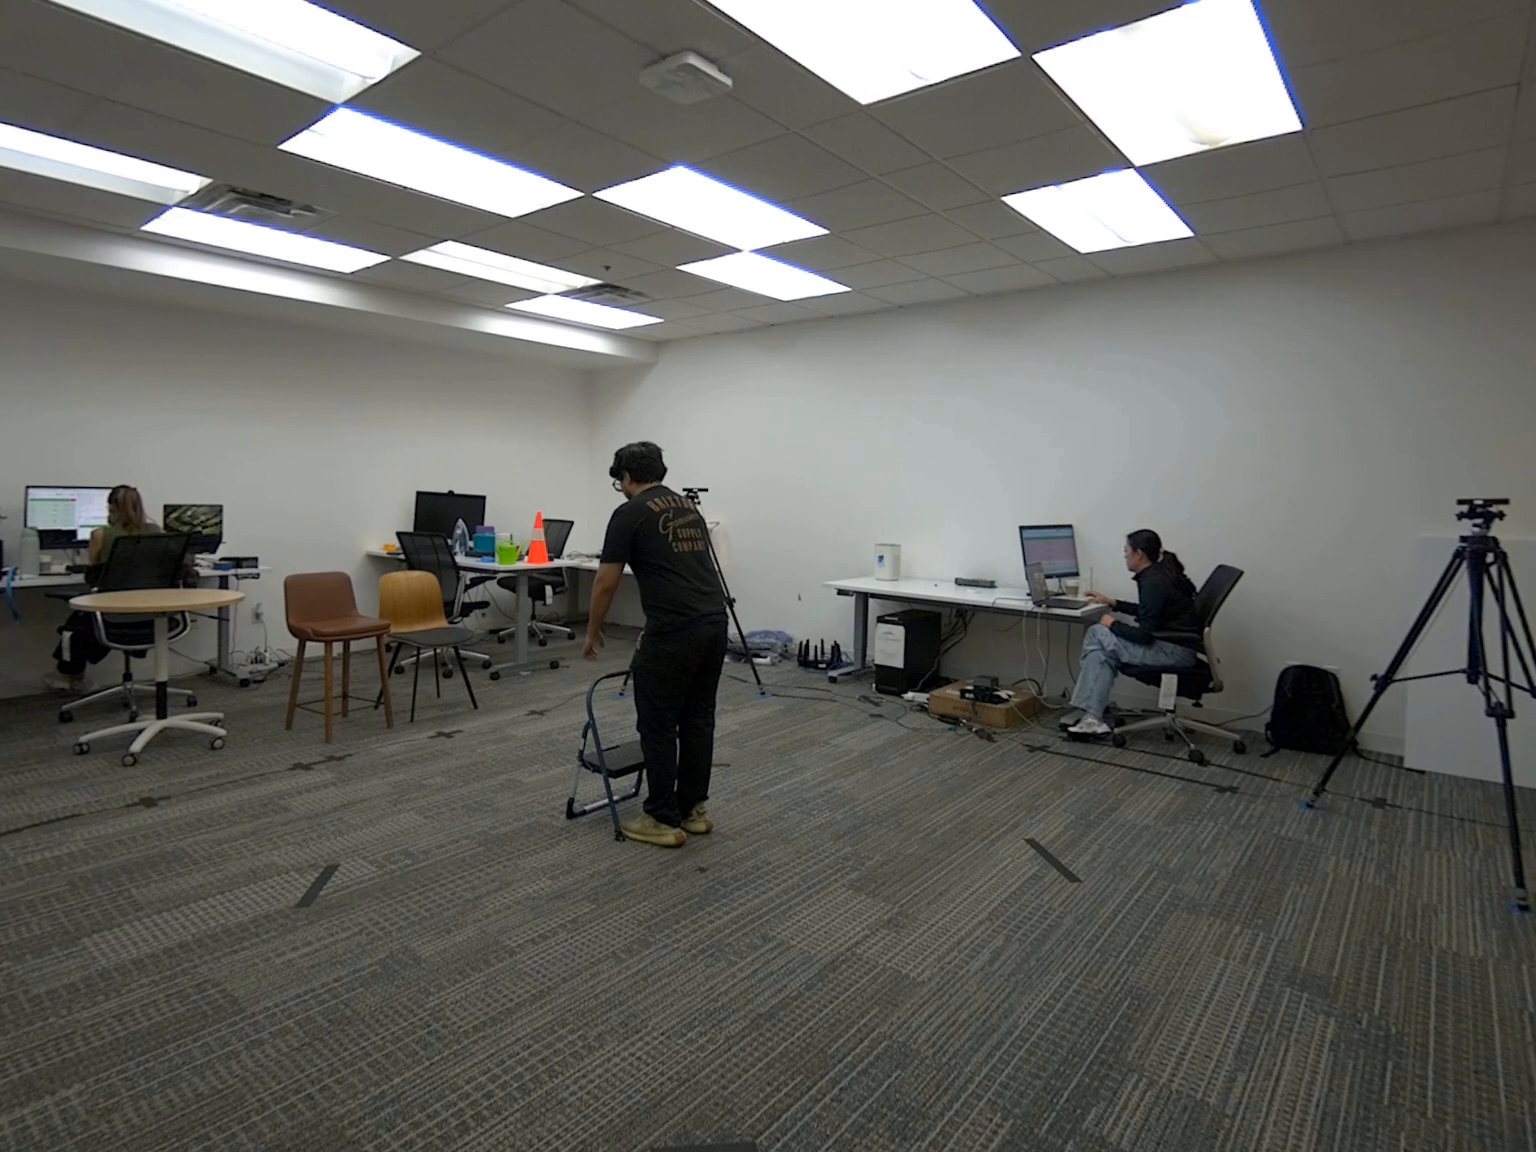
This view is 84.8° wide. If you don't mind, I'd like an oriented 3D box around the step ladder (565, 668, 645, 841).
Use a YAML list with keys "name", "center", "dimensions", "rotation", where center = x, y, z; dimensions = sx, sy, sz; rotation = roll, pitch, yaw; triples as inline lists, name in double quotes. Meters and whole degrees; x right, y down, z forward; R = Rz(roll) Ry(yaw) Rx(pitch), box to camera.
- name: "step ladder"
  center: [-0.599, 0.714, 3.601]
  dimensions: [0.361, 0.605, 0.418]
  rotation: [3, 4, 38]
